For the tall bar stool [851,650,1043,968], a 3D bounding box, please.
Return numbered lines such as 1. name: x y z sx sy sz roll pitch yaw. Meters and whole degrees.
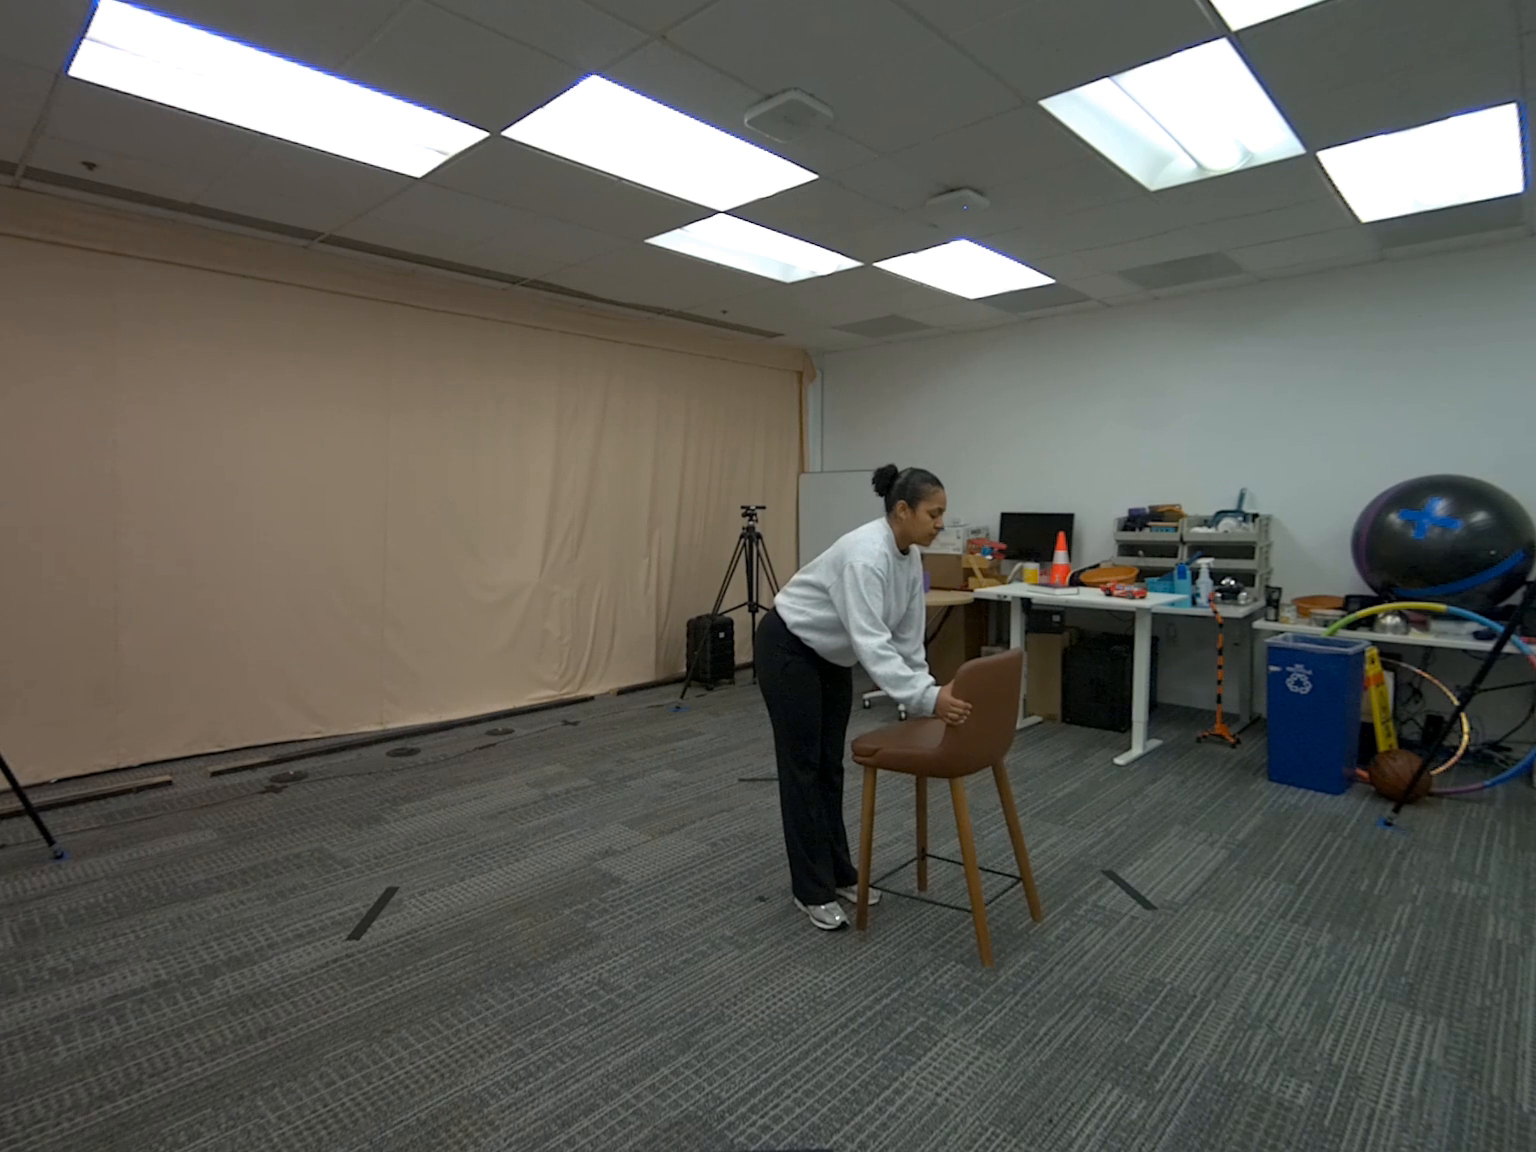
1. tall bar stool: 0.555 0.680 2.681 0.482 0.889 0.443 -1 2 42
